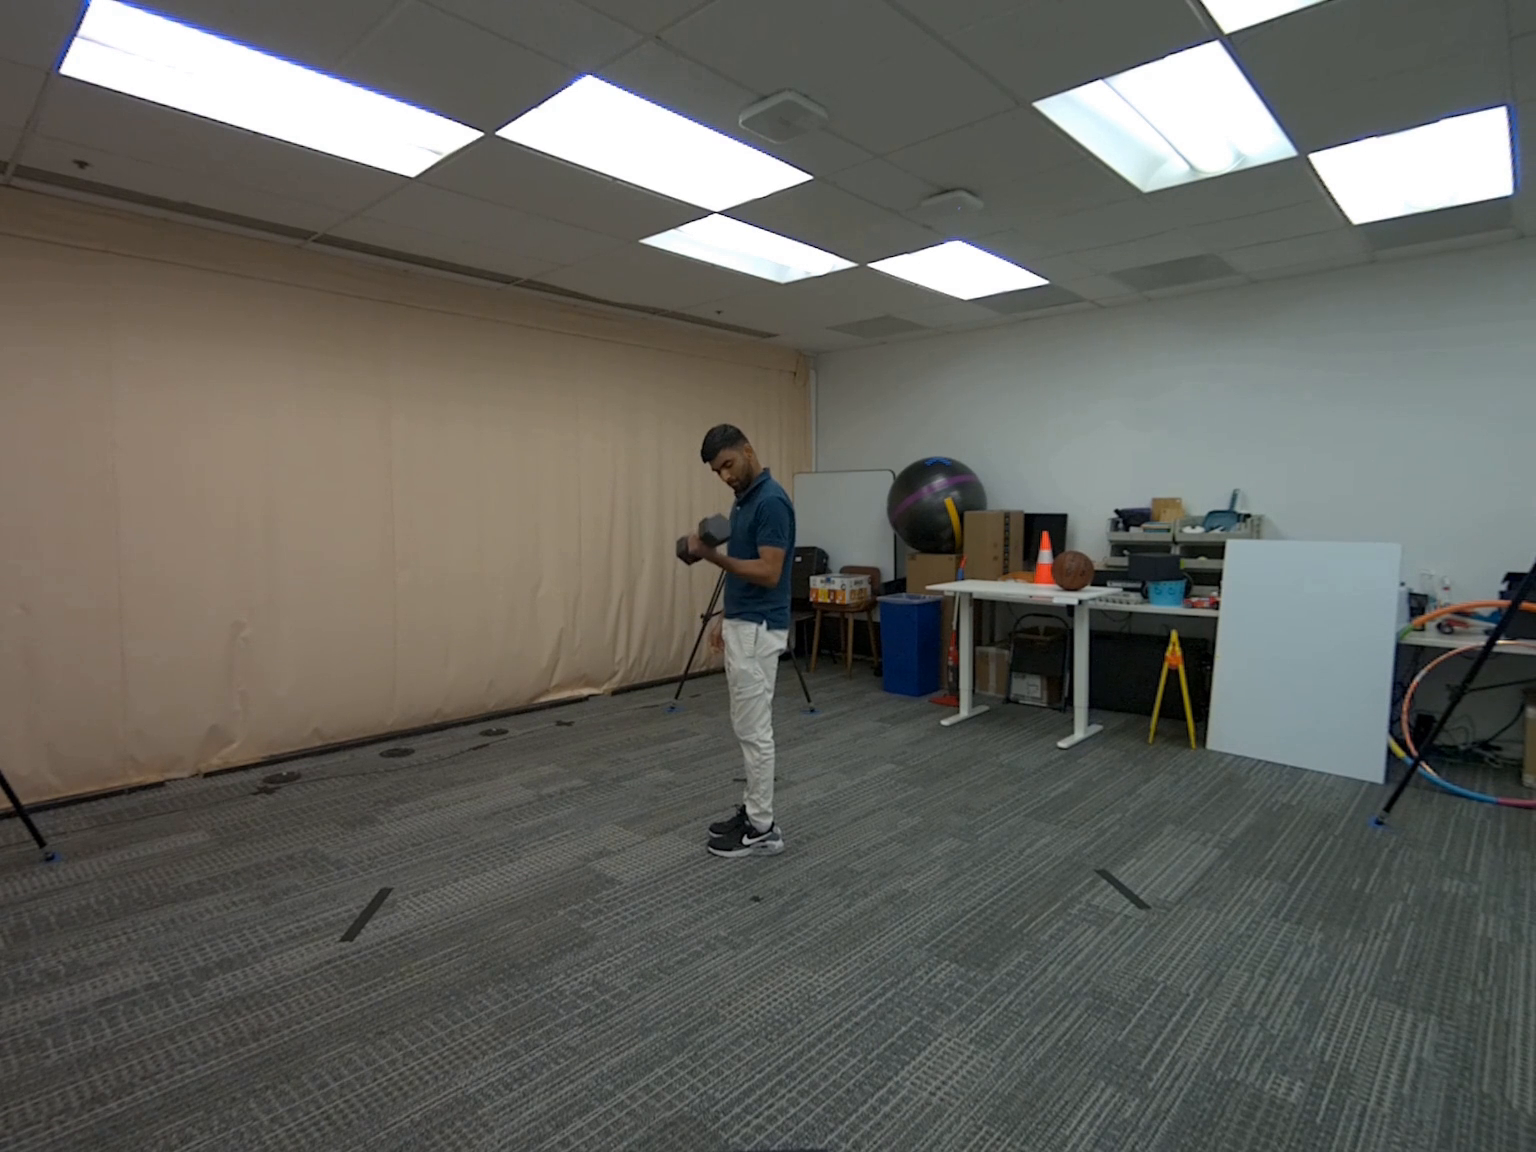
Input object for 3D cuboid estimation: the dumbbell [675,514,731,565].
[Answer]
[{"bbox_3d":[-0.232,-0.124,3.151,0.121,0.109,0.298,36,-31,-15],"label":"dumbbell"}]
